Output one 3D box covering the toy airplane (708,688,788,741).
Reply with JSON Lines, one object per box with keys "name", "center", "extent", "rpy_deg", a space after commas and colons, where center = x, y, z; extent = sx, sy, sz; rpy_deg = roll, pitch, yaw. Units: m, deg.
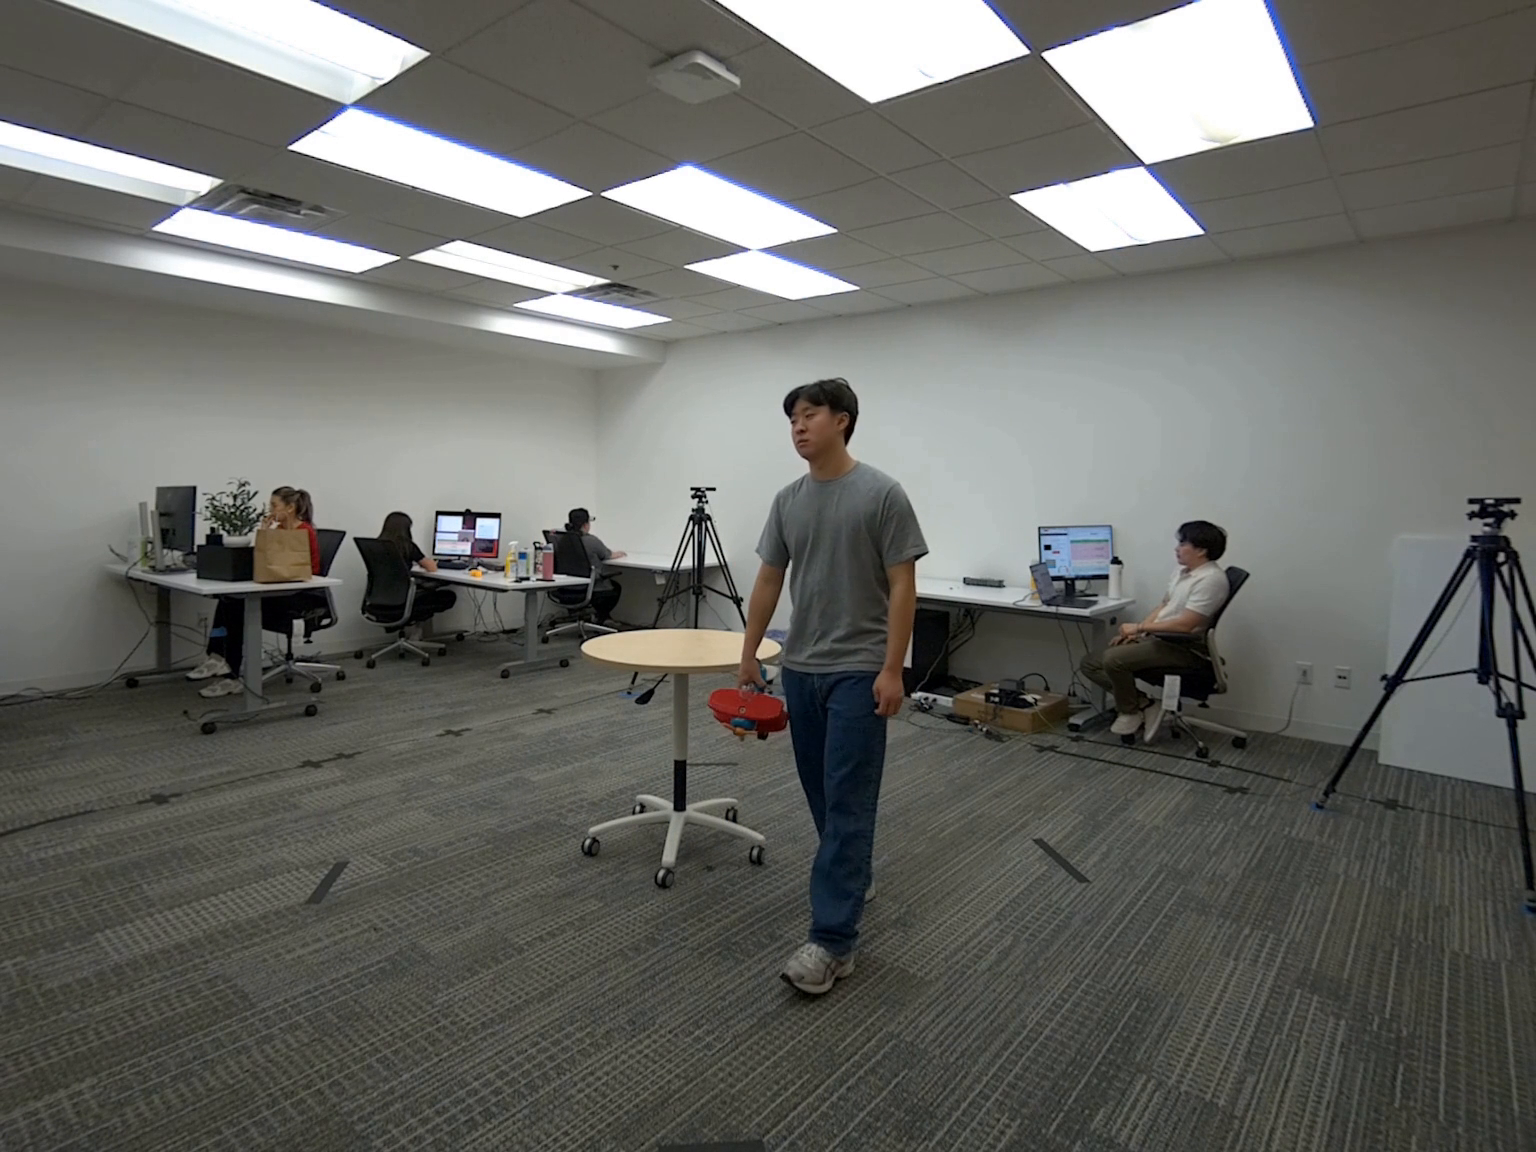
{"name": "toy airplane", "center": [-0.073, 0.402, 2.804], "extent": [0.252, 0.267, 0.151], "rpy_deg": [-20, -30, 8]}
